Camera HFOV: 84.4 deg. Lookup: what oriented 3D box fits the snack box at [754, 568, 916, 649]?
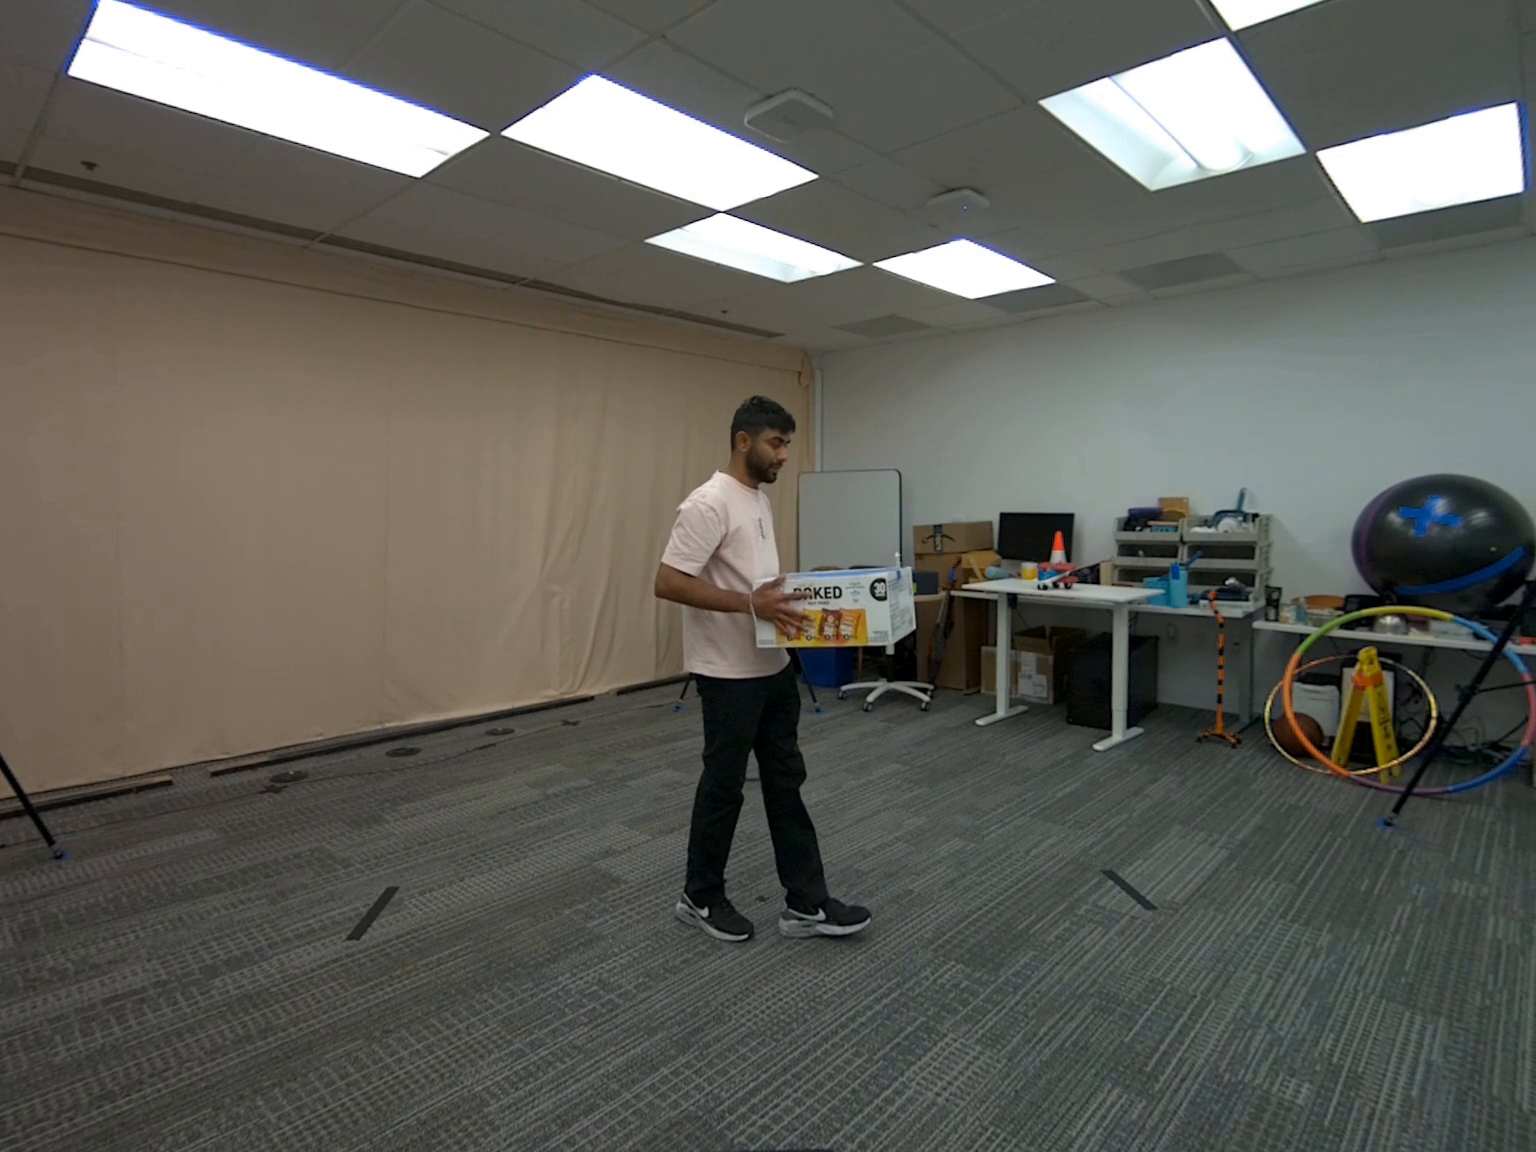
[{"bbox_3d":[0.214,0.094,2.578,0.414,0.205,0.333,-3,3,23],"label":"snack box"}]
